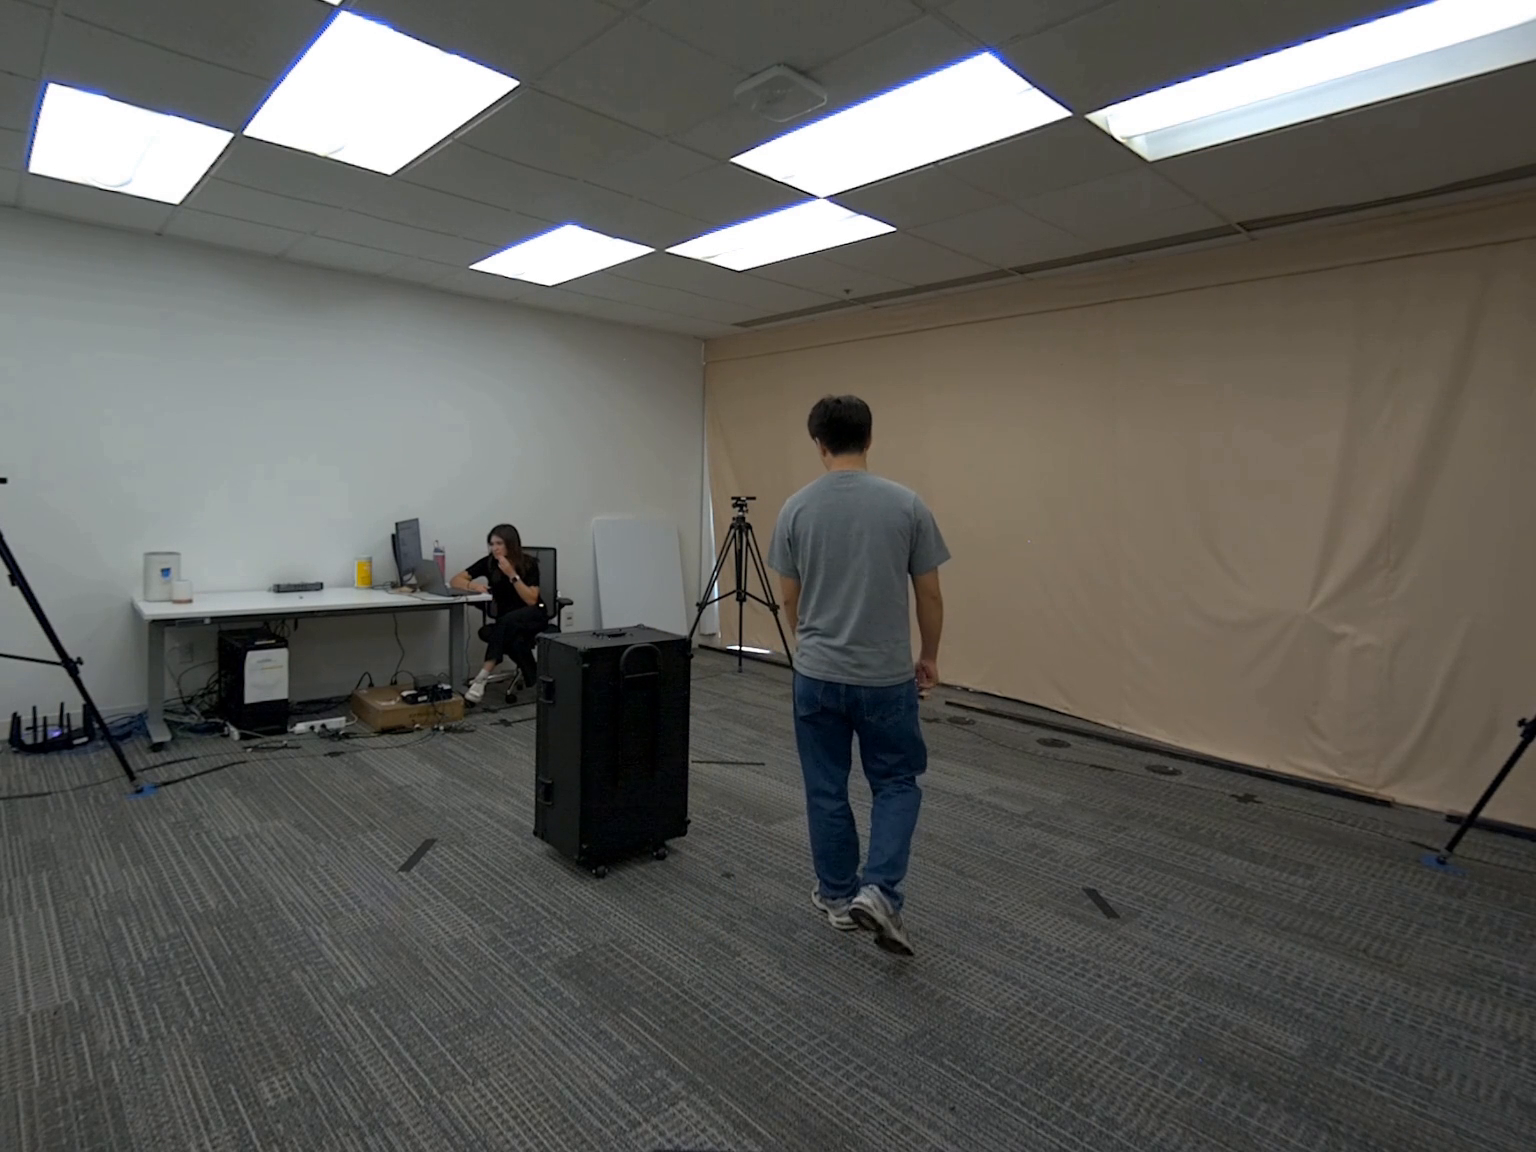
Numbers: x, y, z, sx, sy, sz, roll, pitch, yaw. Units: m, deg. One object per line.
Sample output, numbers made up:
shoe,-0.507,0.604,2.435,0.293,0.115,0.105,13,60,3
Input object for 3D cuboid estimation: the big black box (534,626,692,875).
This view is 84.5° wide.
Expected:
big black box,-0.596,0.655,3.252,0.509,0.859,0.406,-2,5,-41
